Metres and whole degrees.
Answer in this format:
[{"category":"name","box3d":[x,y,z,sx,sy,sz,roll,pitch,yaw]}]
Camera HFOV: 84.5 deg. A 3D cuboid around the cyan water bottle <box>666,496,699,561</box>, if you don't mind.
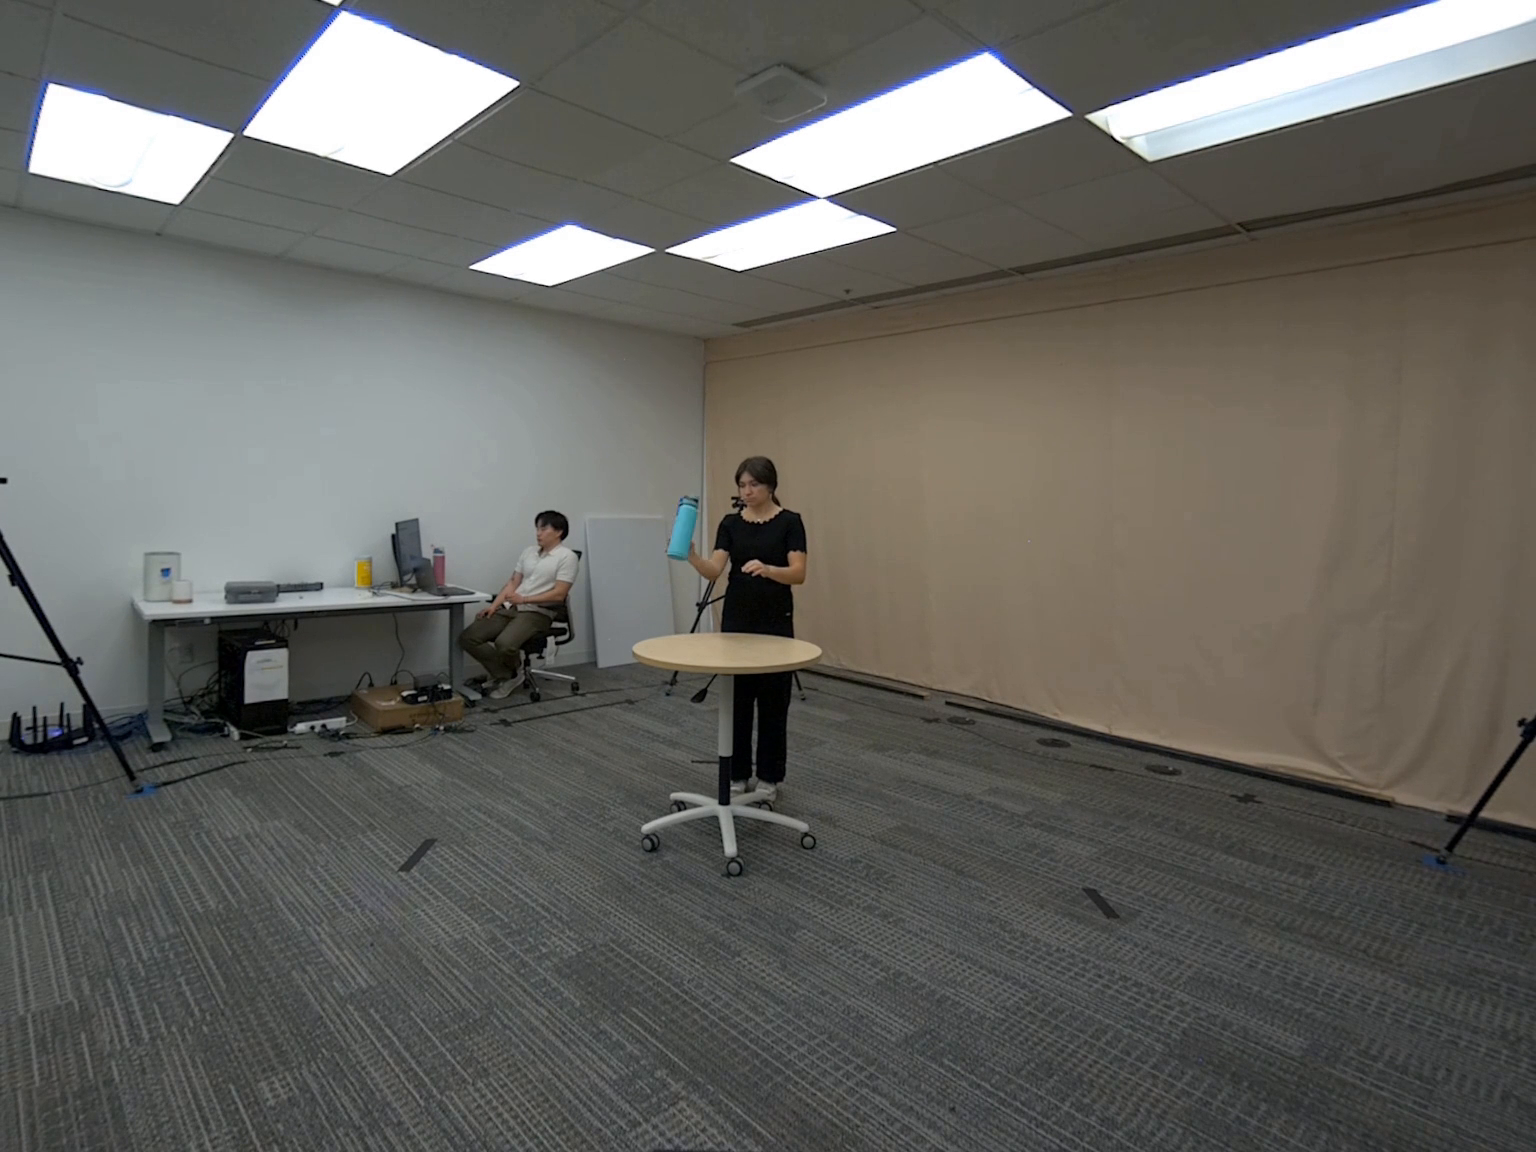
[{"category":"cyan water bottle","box3d":[-0.370,-0.208,3.620,0.092,0.285,0.091,8,-12,0]}]
